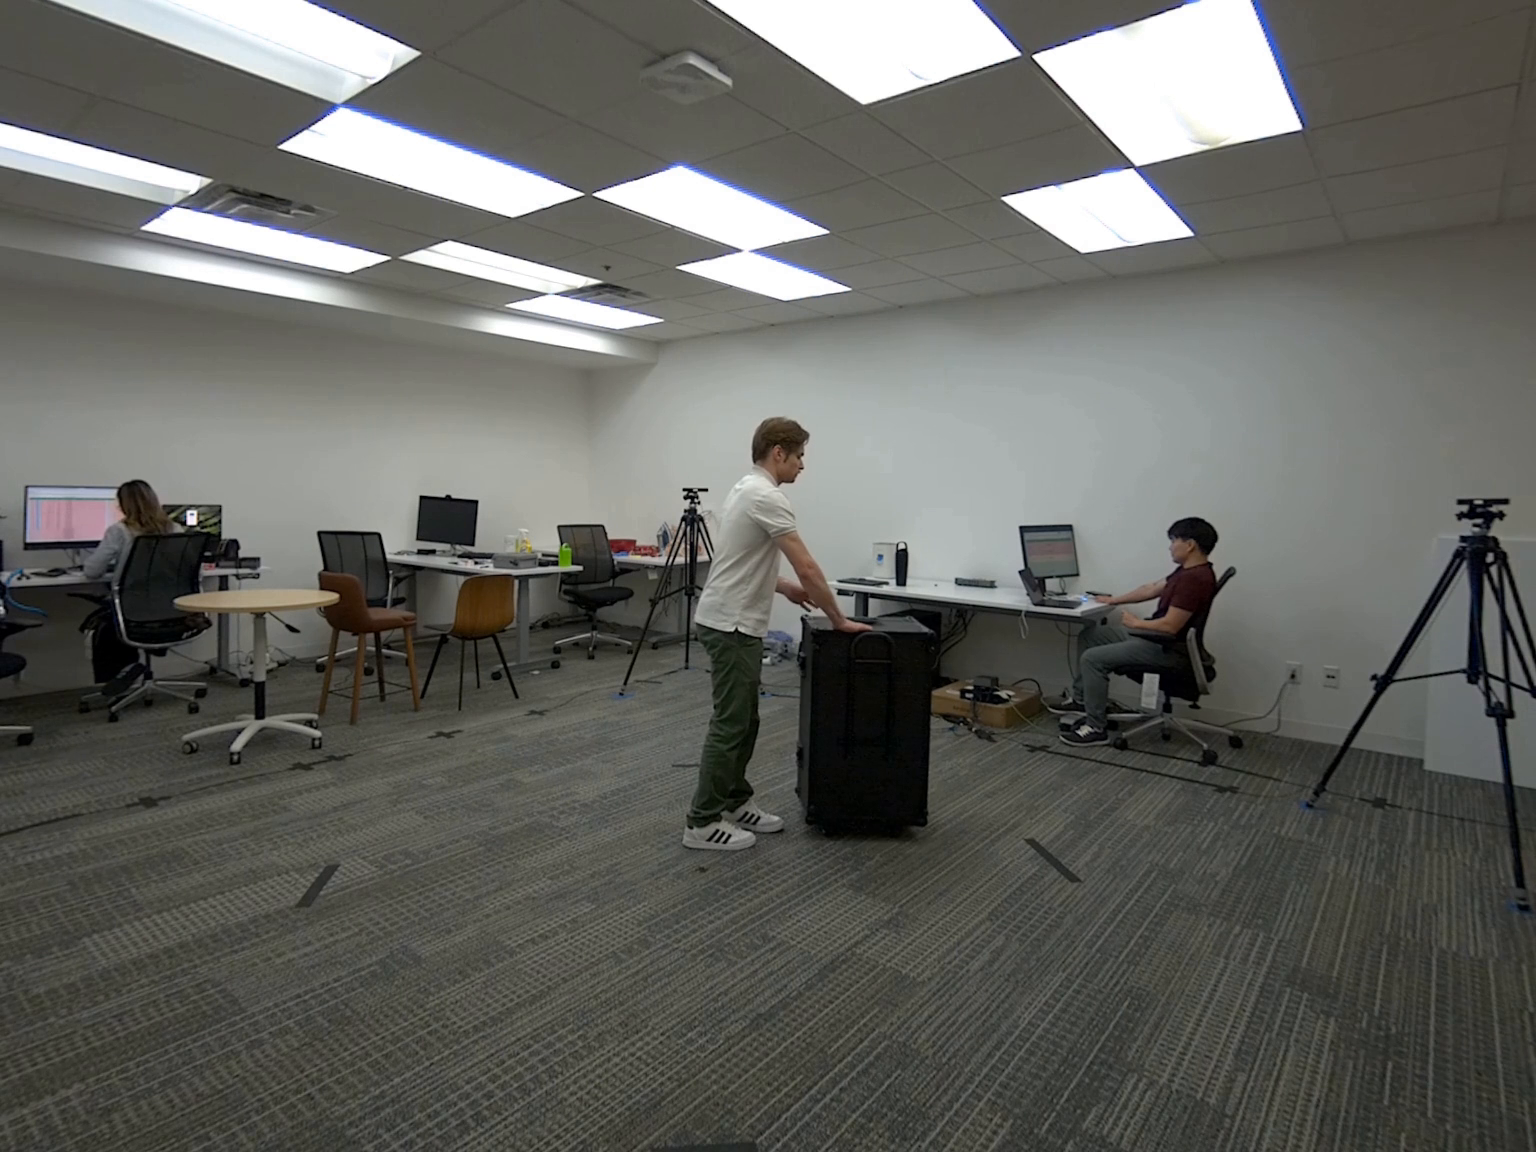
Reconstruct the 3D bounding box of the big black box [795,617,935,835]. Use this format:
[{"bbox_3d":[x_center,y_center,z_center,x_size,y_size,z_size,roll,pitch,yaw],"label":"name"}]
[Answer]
[{"bbox_3d":[0.387,0.623,3.529,0.523,0.865,0.388,1,5,-2],"label":"big black box"}]
